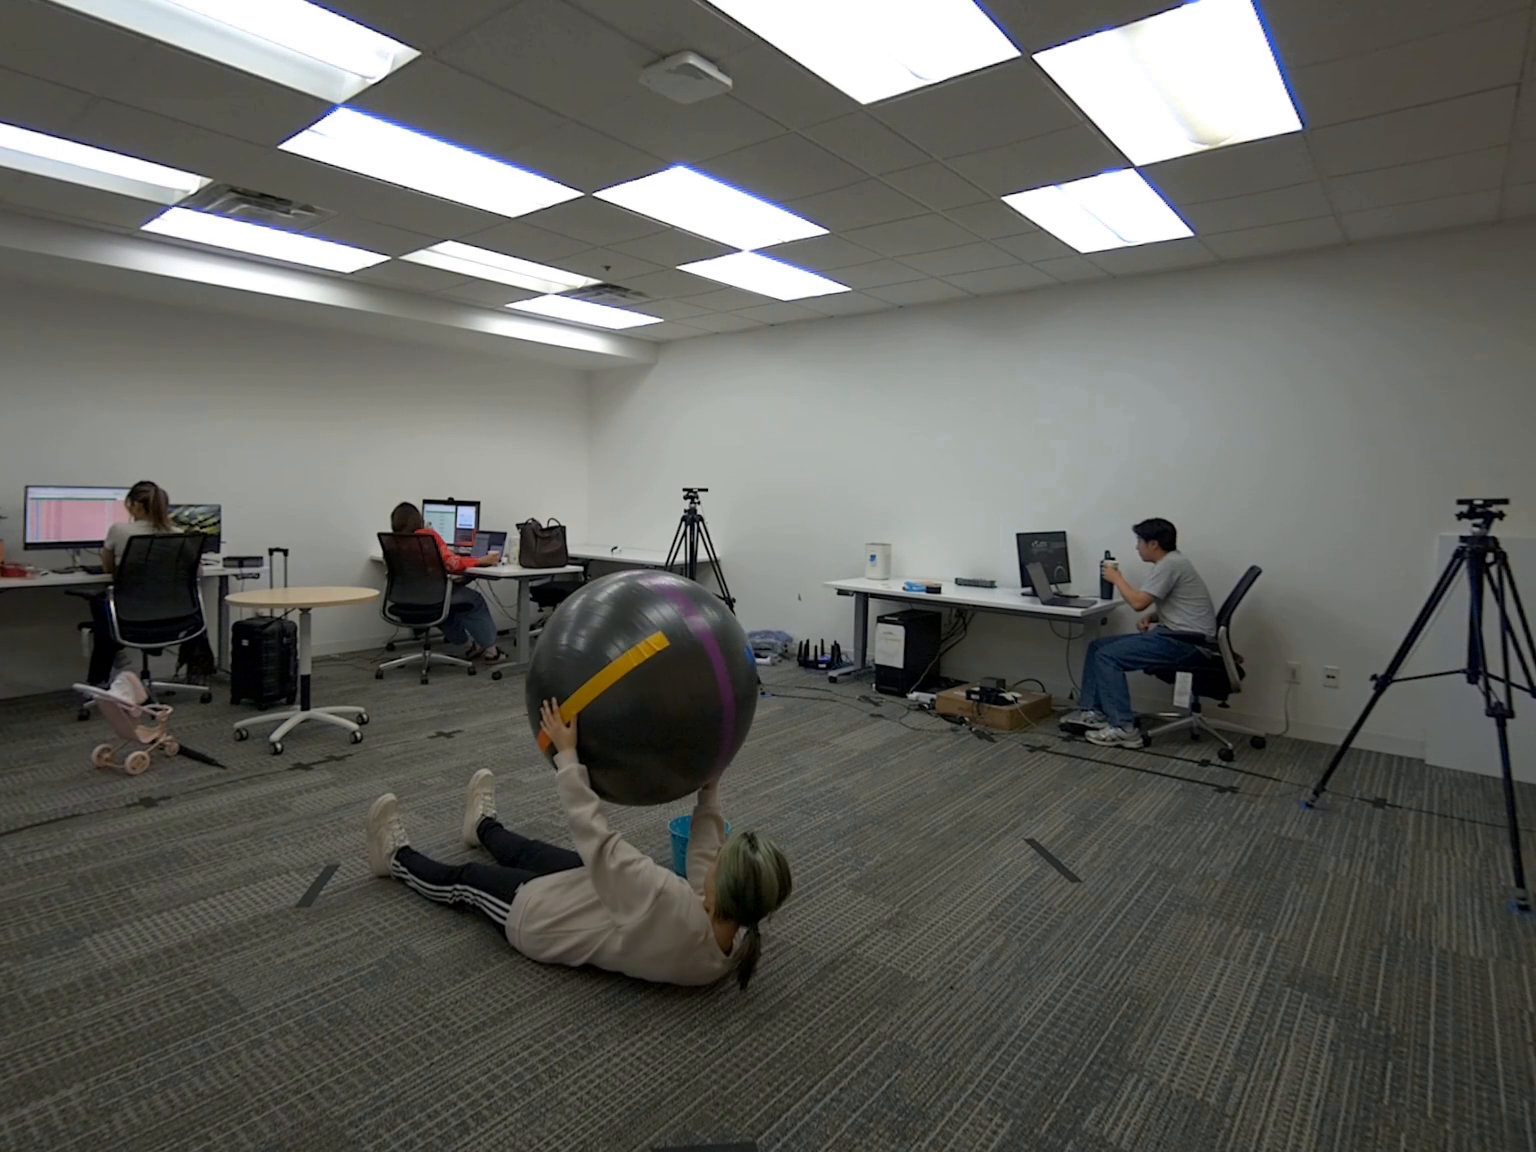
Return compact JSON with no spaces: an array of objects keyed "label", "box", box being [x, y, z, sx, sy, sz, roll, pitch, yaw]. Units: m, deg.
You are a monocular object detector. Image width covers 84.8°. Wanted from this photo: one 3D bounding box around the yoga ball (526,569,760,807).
[{"label":"yoga ball","box":[-0.415,0.366,2.791,0.757,0.755,0.762,1,4,-2]}]
